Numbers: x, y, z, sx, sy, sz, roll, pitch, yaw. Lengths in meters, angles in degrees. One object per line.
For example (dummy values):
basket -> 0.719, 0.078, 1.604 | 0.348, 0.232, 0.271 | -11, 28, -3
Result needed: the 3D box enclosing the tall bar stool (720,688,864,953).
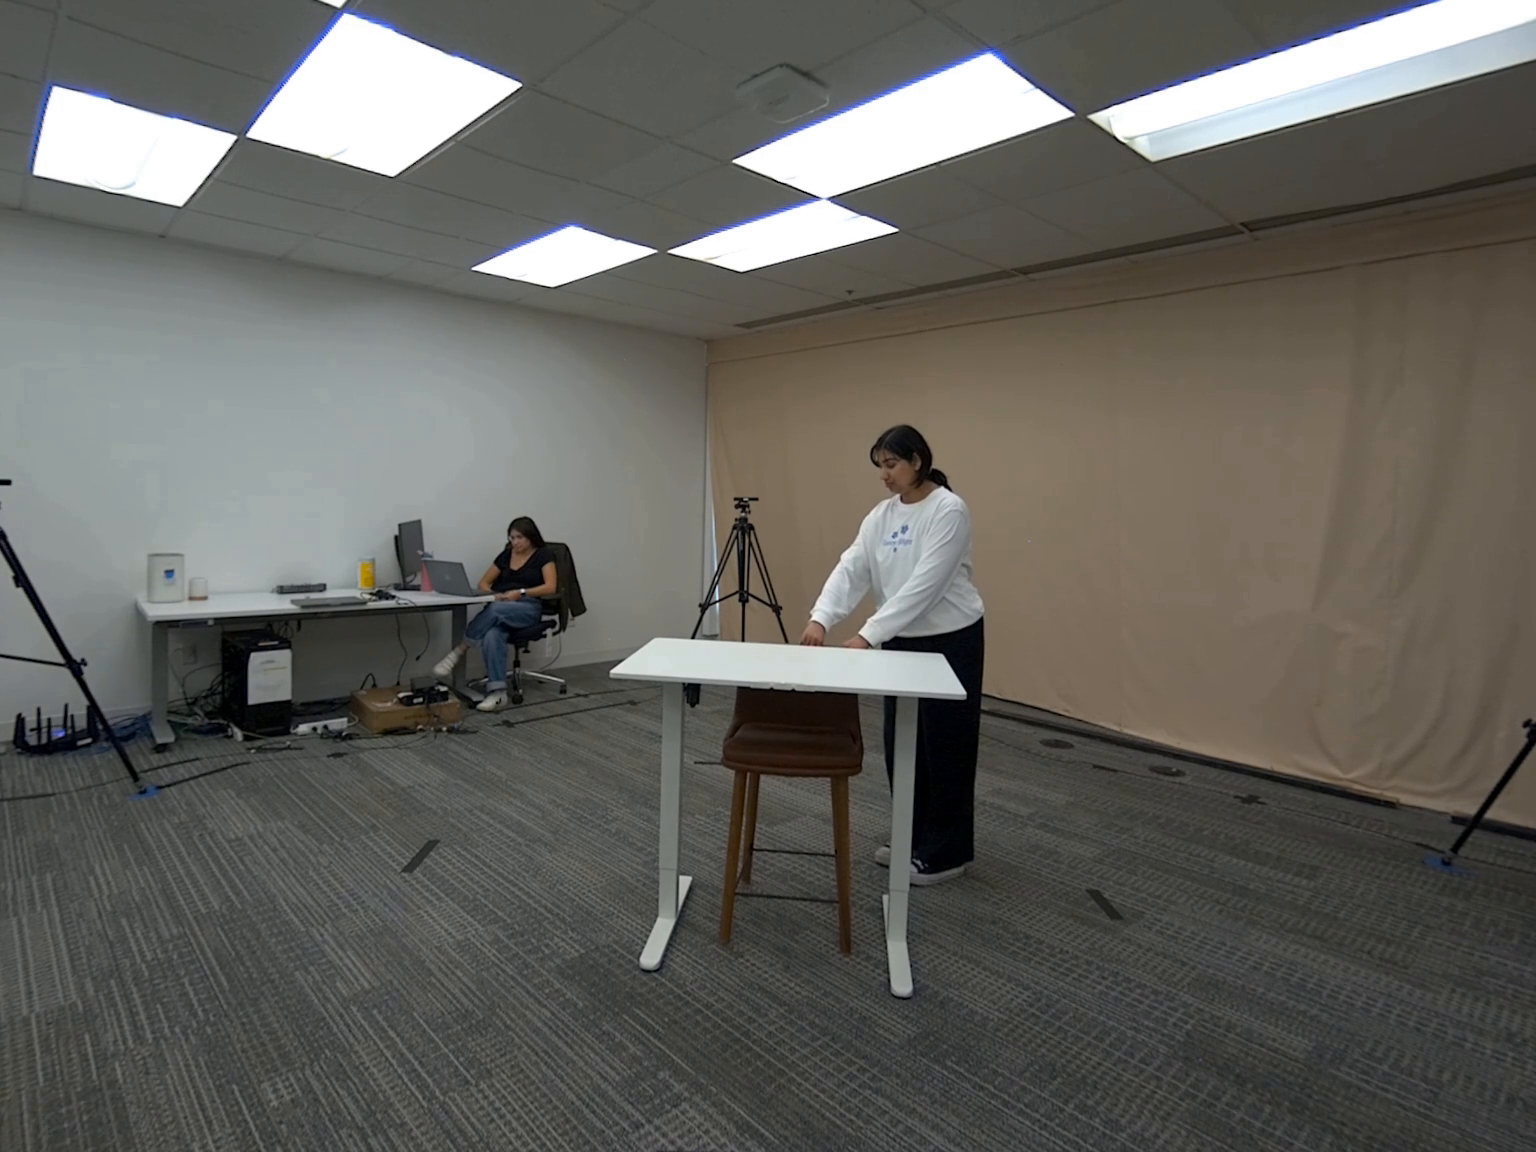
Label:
tall bar stool -> 0.086, 0.709, 2.810 | 0.460, 0.888, 0.465 | 2, 2, 8
